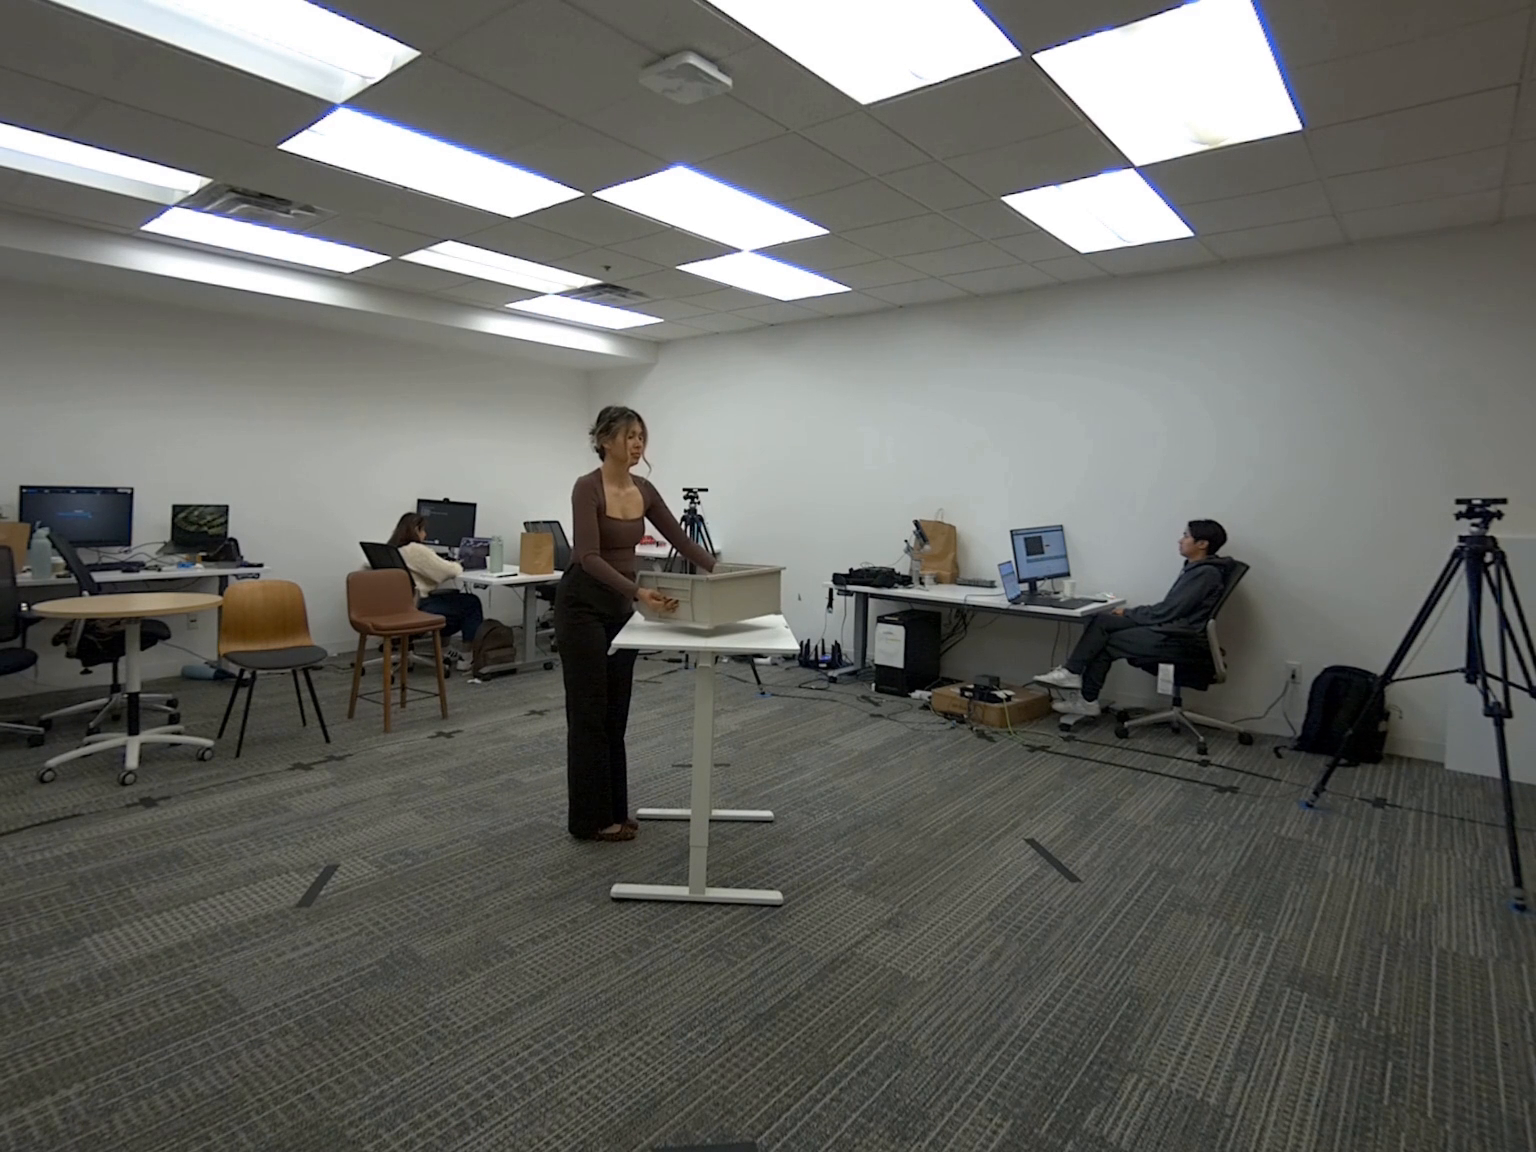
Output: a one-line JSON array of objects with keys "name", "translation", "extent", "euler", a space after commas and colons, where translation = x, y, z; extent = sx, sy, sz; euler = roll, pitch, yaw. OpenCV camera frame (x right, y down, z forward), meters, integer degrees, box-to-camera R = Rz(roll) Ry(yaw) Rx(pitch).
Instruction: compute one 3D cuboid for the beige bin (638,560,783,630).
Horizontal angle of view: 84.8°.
[{"name": "beige bin", "translation": [-0.221, 0.059, 3.099], "extent": [0.390, 0.188, 0.410], "euler": [5, 8, 39]}]
